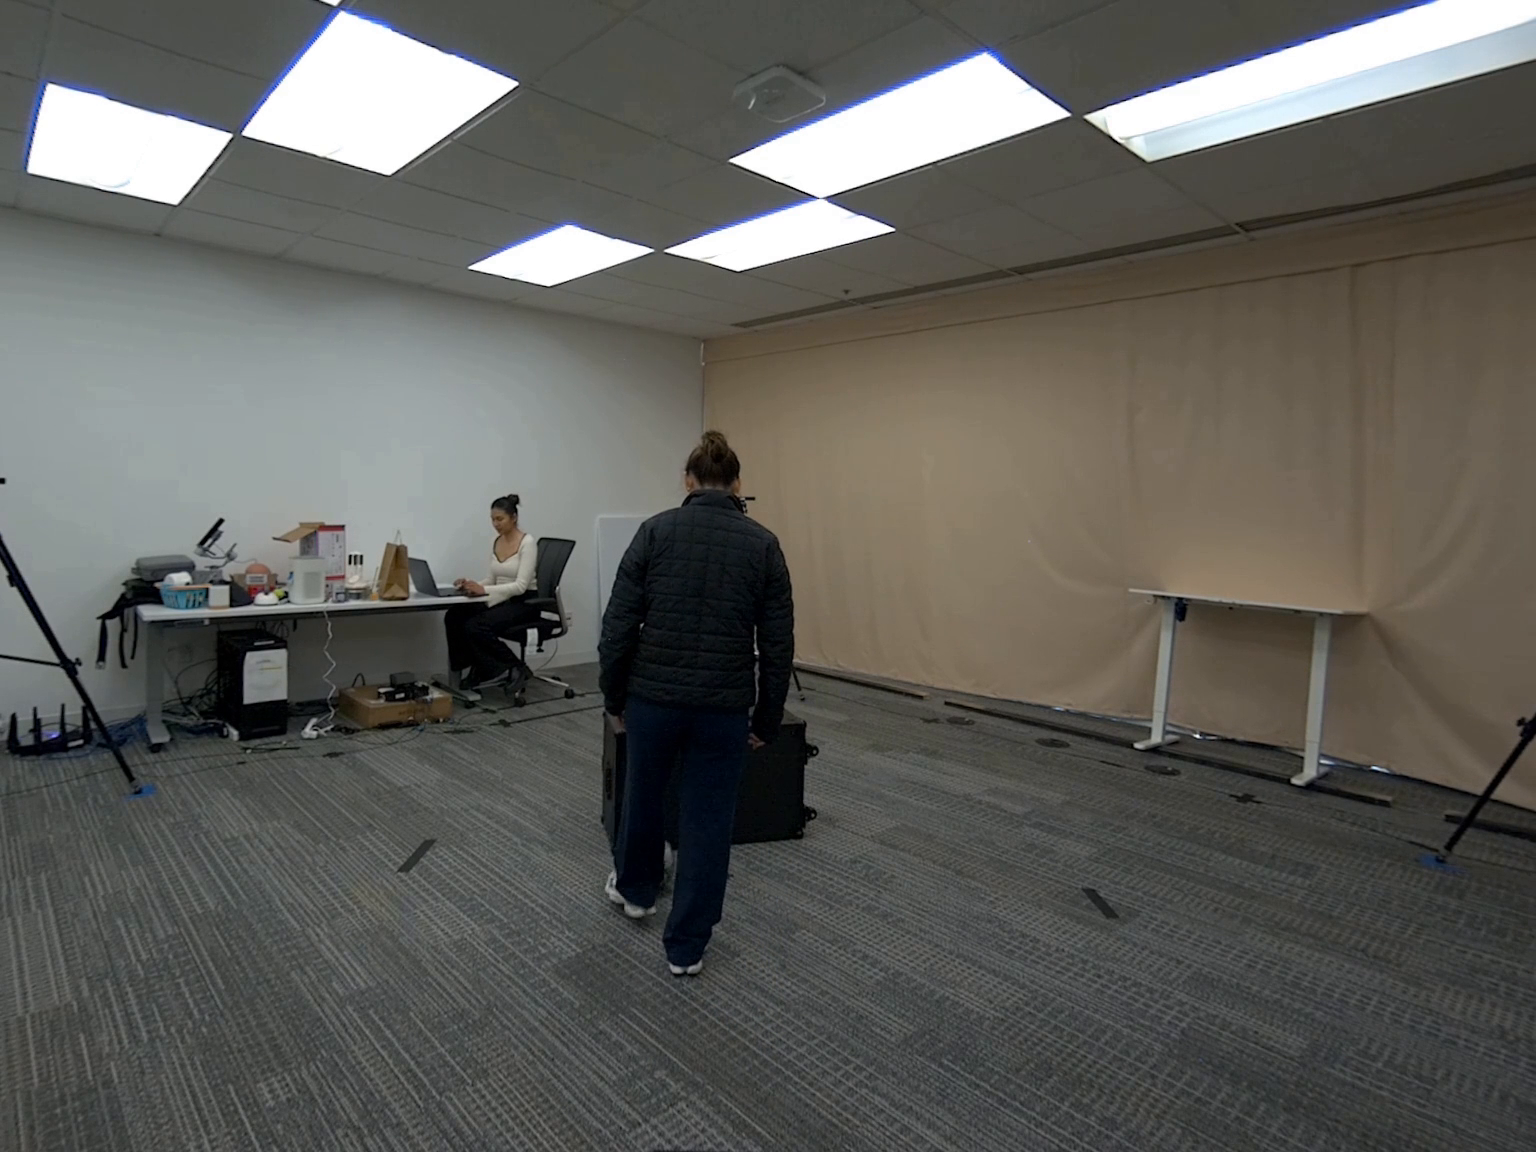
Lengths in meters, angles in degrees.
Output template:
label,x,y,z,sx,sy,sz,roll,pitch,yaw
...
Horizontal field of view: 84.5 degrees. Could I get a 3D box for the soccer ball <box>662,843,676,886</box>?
label,x,y,z,sx,sy,sz,roll,pitch,yaw
soccer ball,-0.426,1.027,2.988,0.187,0.187,0.188,1,4,-1
